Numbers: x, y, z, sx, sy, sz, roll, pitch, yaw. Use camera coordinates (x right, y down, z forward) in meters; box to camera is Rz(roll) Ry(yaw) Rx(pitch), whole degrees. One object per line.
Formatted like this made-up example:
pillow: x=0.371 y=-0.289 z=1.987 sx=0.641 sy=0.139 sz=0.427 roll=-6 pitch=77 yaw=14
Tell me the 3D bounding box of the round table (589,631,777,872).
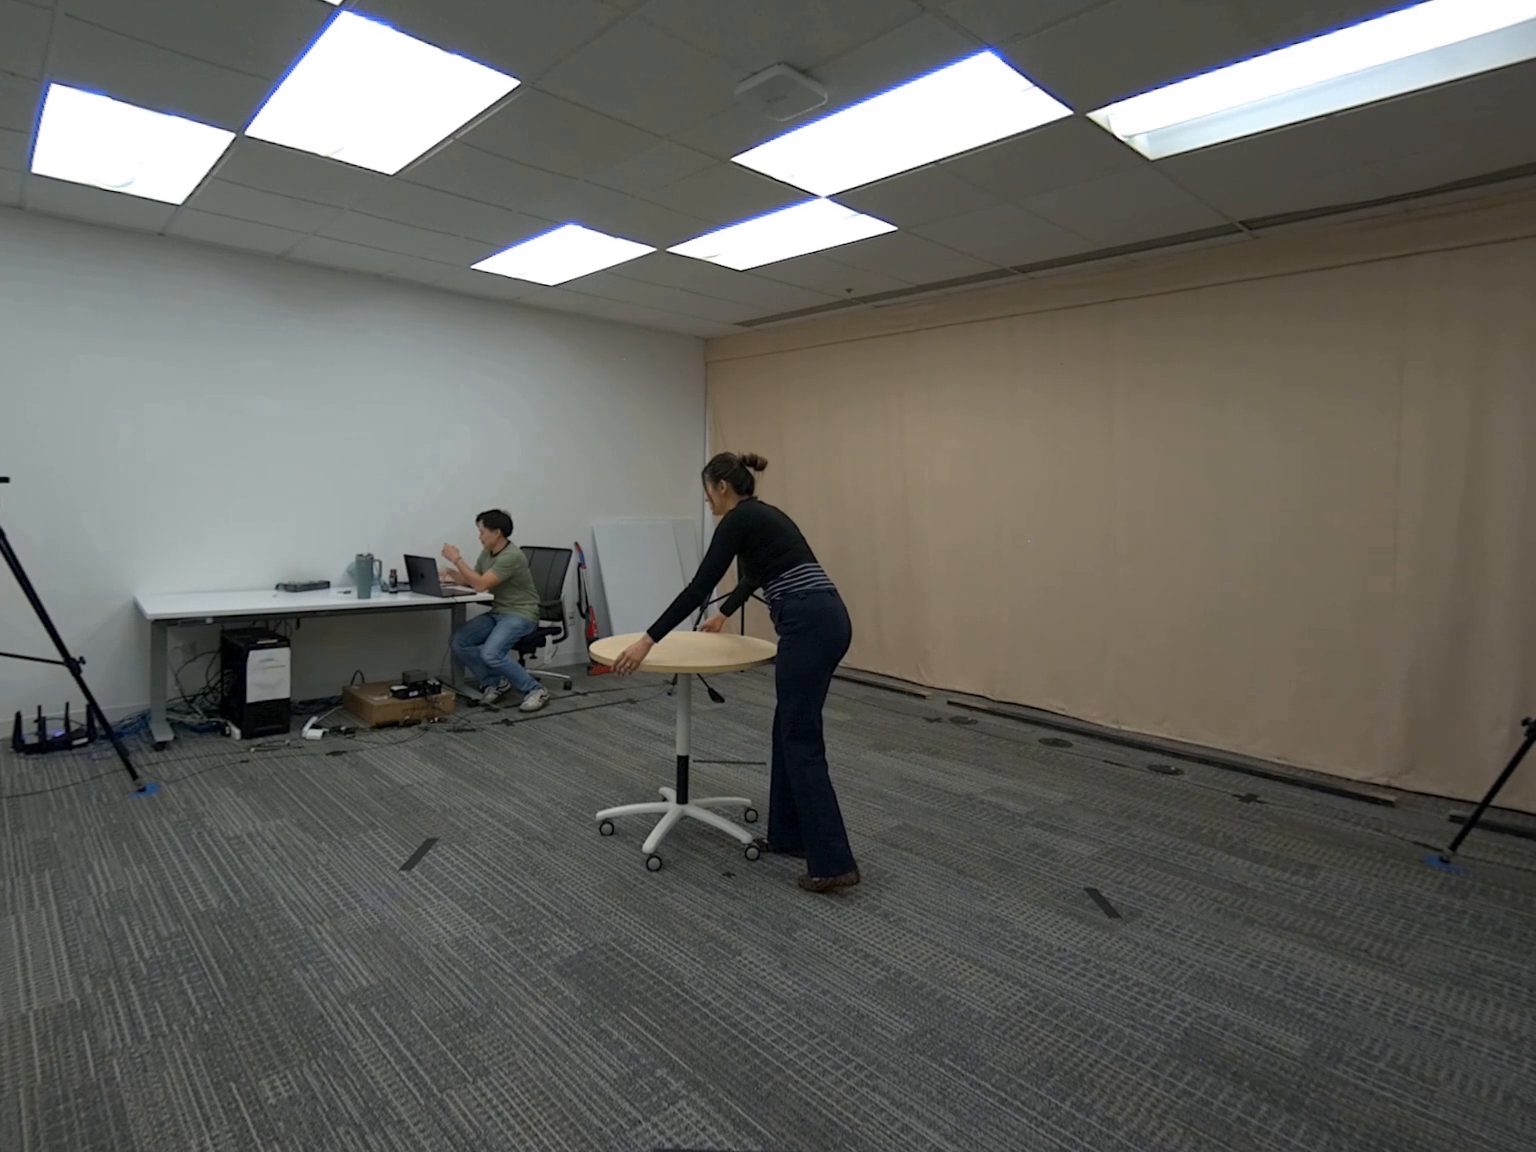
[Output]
round table: x=-0.354 y=0.678 z=3.431 sx=0.763 sy=0.792 sz=0.766 roll=1 pitch=4 yaw=-1
